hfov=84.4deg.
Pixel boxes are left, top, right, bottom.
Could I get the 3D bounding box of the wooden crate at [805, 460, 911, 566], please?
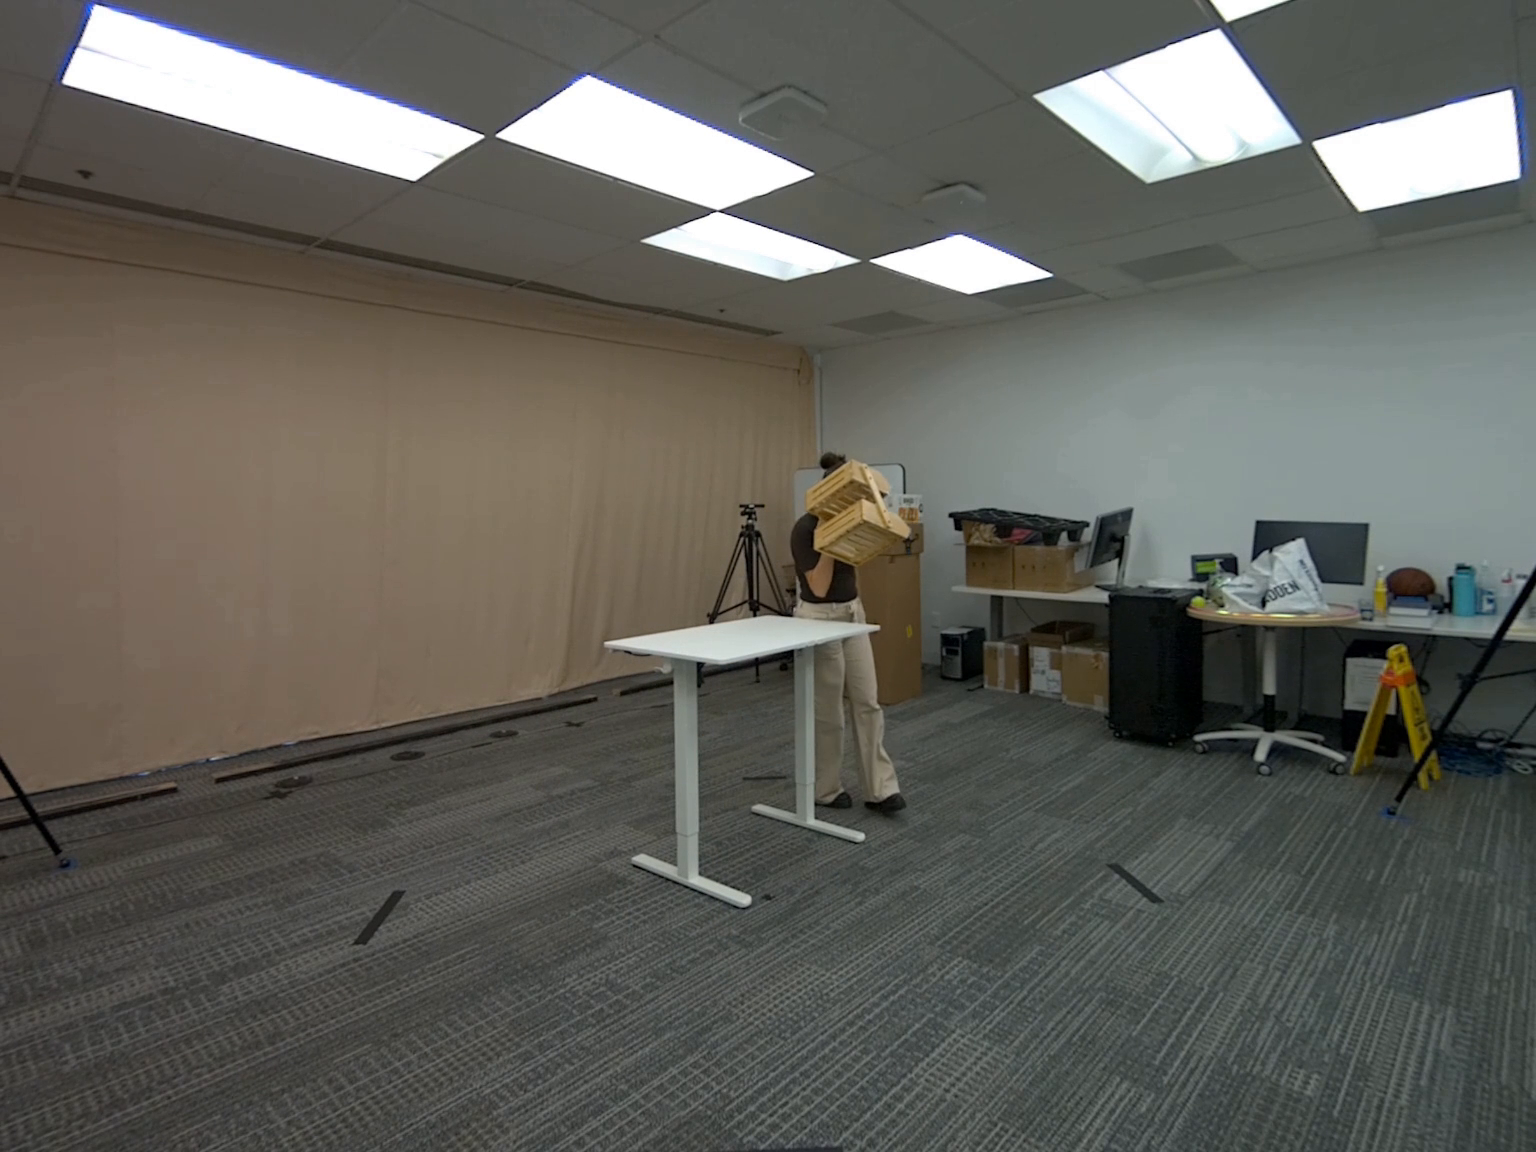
[{"bbox_3d":[0.366,-0.249,3.436,0.293,0.277,0.329,21,-34,-27],"label":"wooden crate"}]
